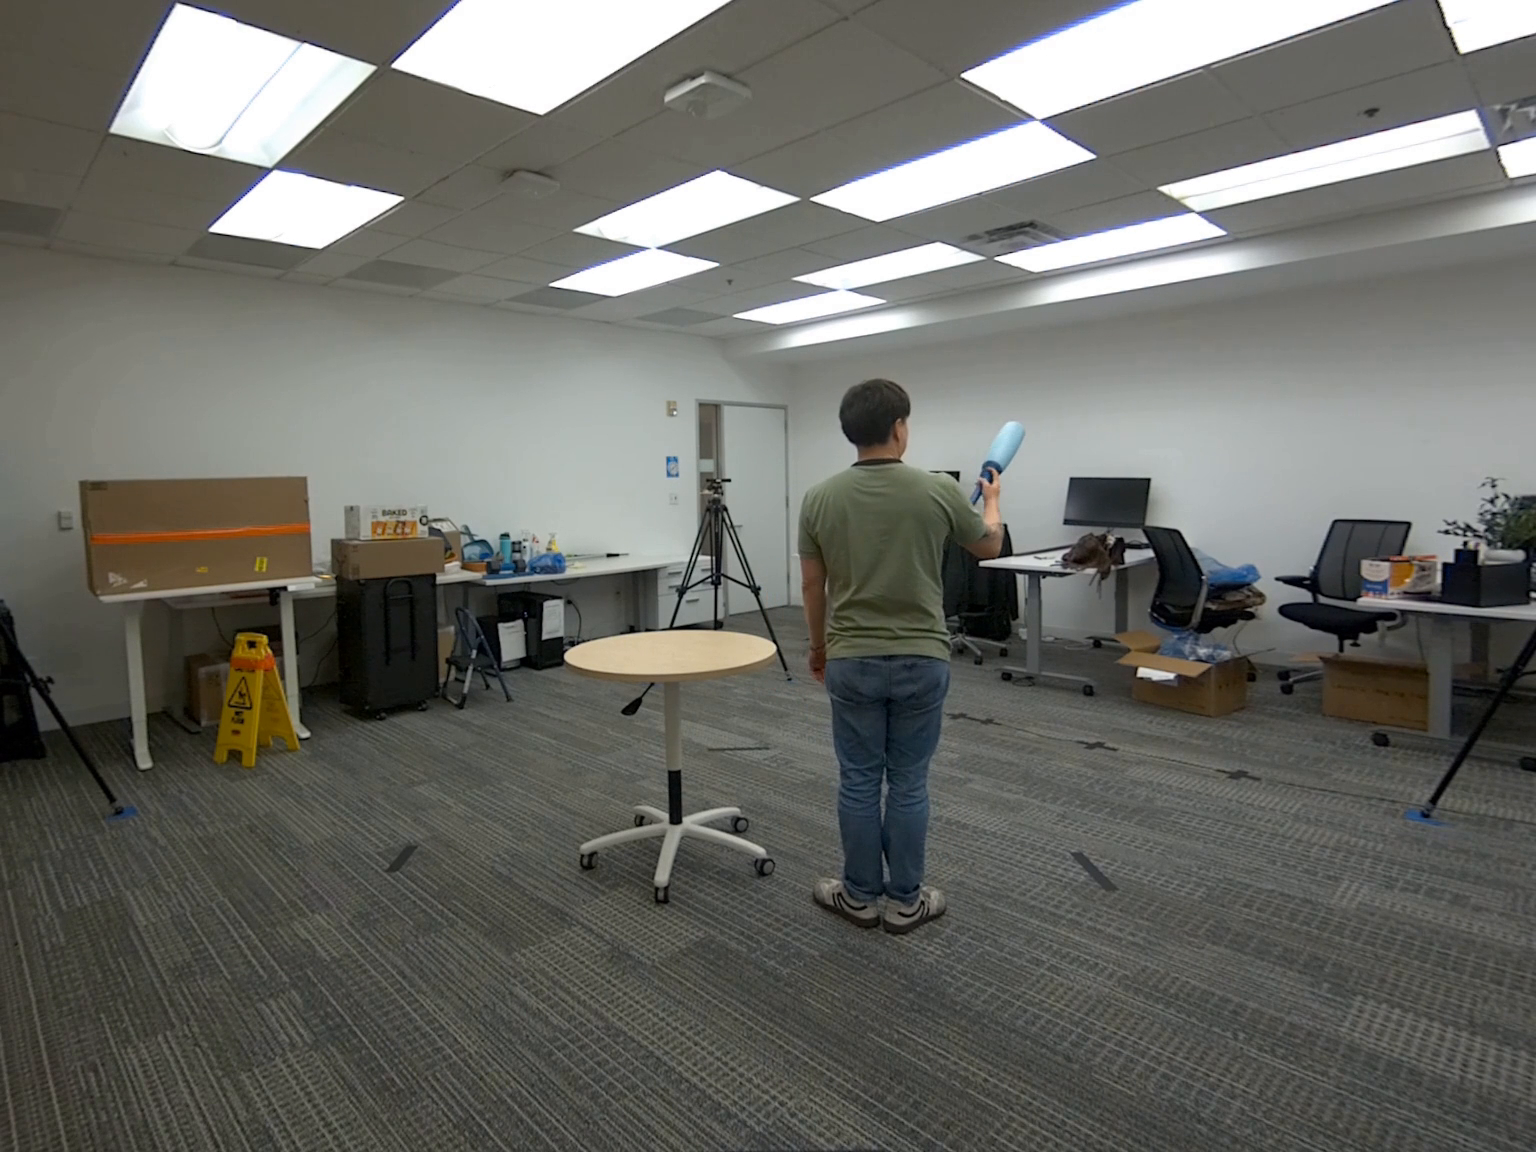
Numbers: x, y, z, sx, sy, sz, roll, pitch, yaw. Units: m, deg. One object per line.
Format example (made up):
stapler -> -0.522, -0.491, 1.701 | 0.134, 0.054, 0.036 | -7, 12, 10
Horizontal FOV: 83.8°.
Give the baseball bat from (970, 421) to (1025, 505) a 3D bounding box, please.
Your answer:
baseball bat -> 0.770, -0.357, 2.952 | 0.092, 0.086, 0.544 | 2, 42, 39
